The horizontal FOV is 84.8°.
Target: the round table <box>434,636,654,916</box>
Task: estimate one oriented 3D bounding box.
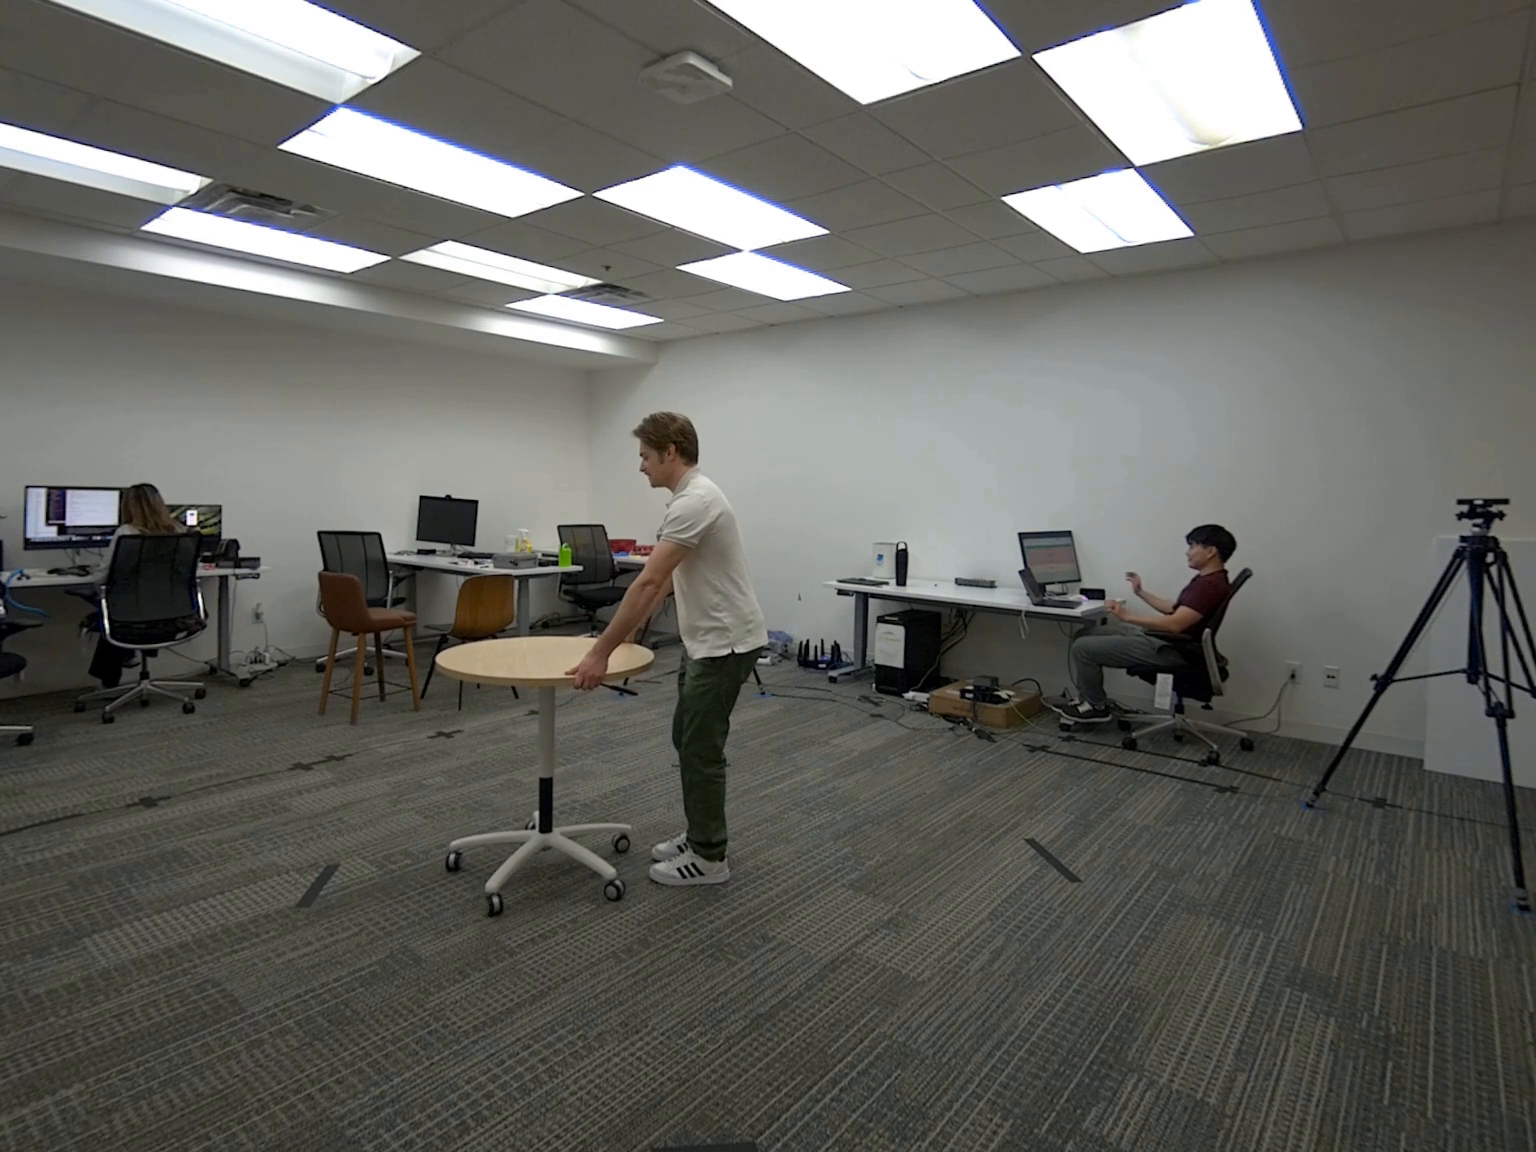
[{"bbox_3d":[-0.809,0.675,3.069,0.763,0.791,0.768,1,4,-2],"label":"round table"}]
